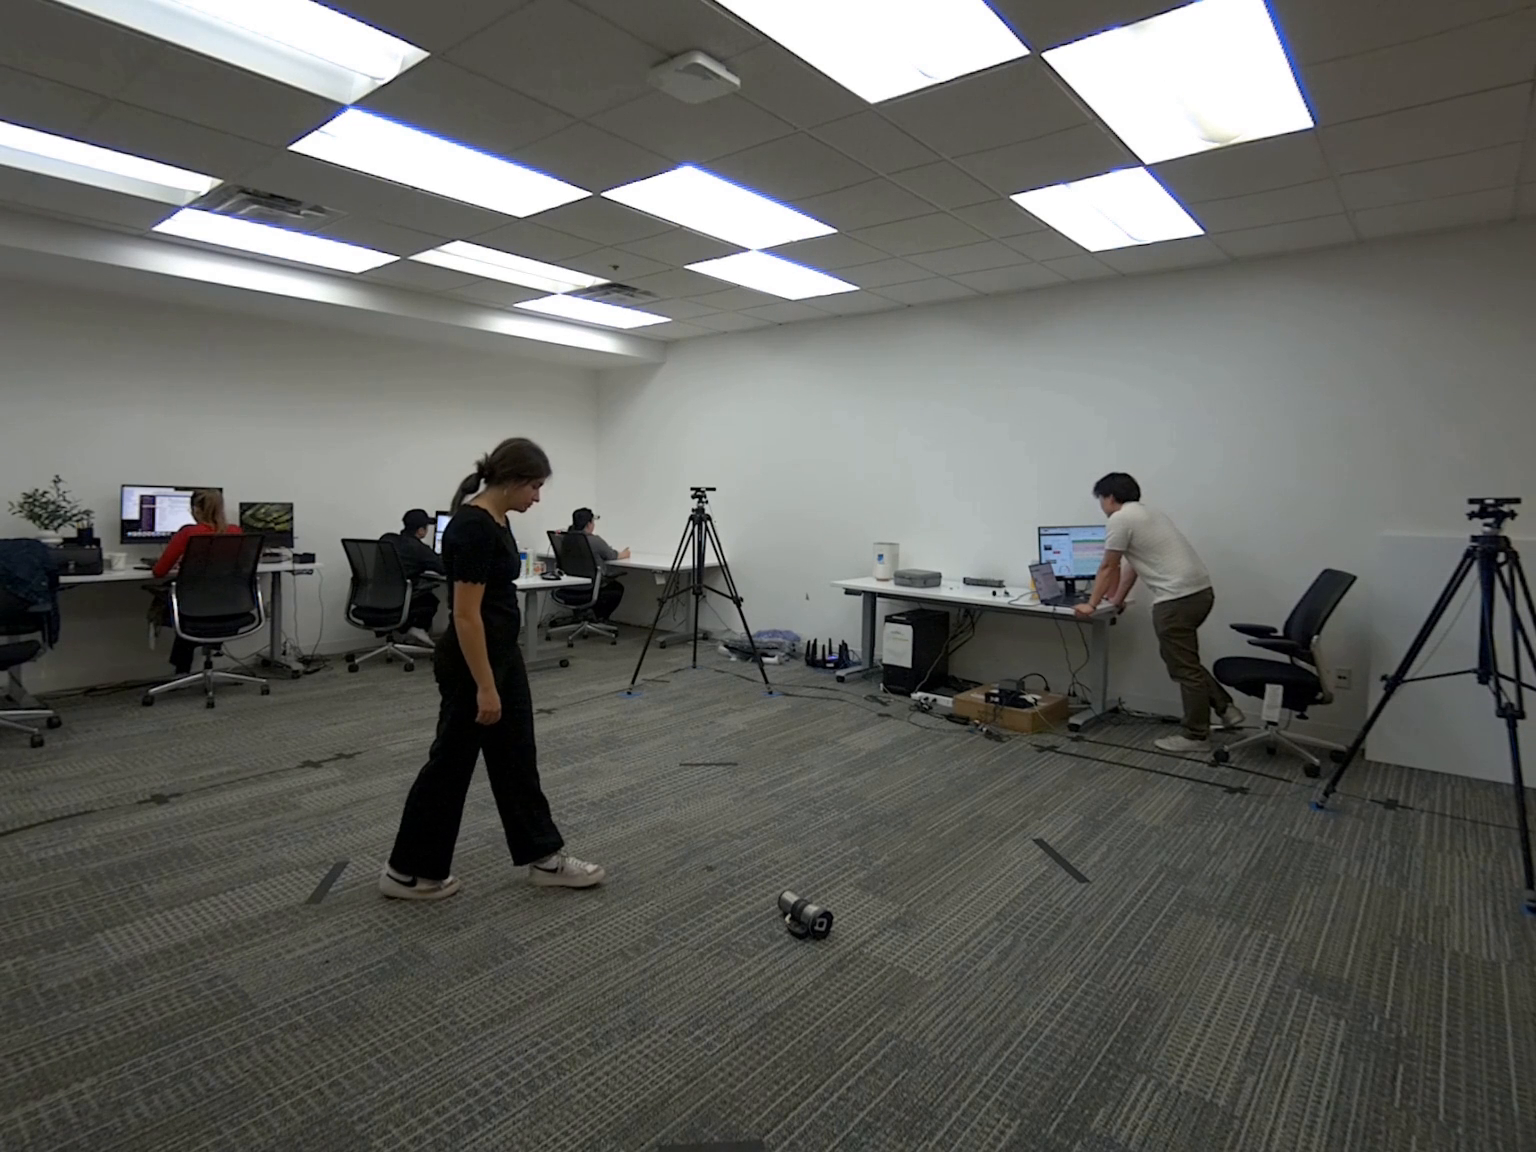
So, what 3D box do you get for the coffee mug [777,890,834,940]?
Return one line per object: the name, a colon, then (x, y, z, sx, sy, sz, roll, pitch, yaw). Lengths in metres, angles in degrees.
coffee mug: (0.095, 1.065, 2.705, 0.118, 0.088, 0.209, 12, -3, -36)
